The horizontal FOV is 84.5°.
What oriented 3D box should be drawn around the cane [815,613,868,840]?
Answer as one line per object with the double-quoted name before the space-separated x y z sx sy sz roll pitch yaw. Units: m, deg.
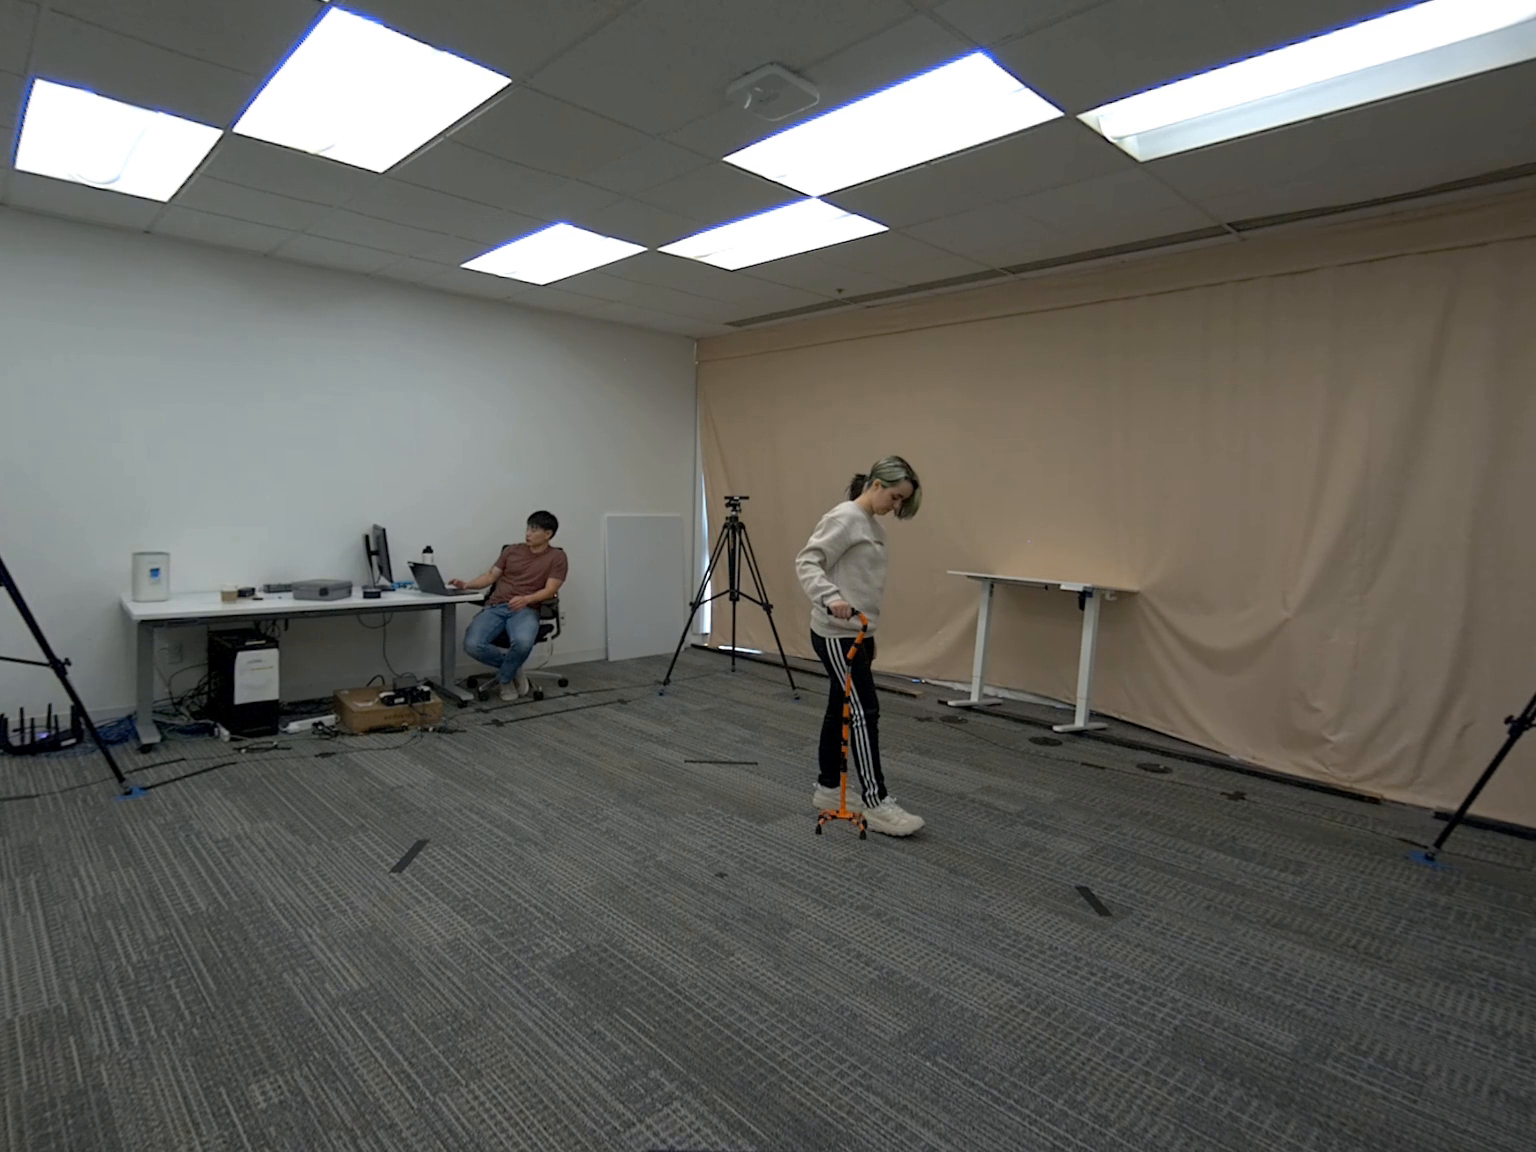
"cane" 0.312 0.601 3.389 0.208 0.904 0.151 4 6 8
